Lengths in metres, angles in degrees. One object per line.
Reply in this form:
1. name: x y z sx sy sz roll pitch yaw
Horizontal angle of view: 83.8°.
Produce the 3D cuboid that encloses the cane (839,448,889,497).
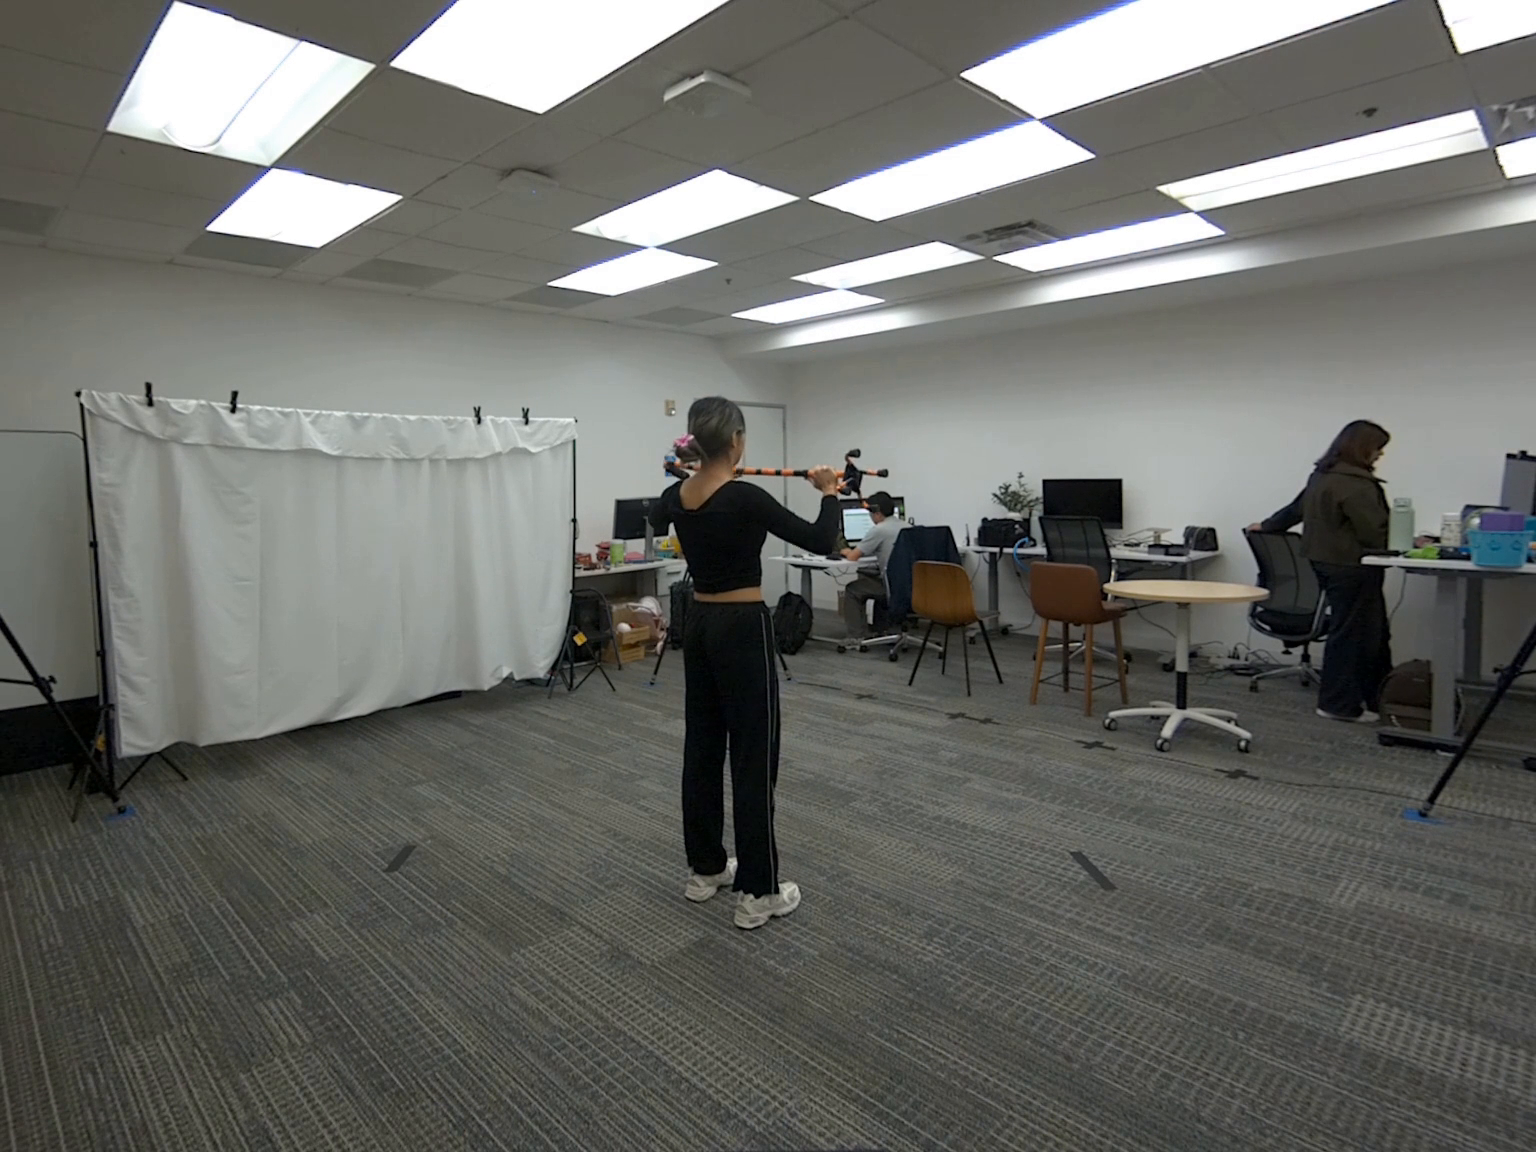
1. cane: -0.040 -0.349 2.975 0.937 0.152 0.199 9 -11 42
